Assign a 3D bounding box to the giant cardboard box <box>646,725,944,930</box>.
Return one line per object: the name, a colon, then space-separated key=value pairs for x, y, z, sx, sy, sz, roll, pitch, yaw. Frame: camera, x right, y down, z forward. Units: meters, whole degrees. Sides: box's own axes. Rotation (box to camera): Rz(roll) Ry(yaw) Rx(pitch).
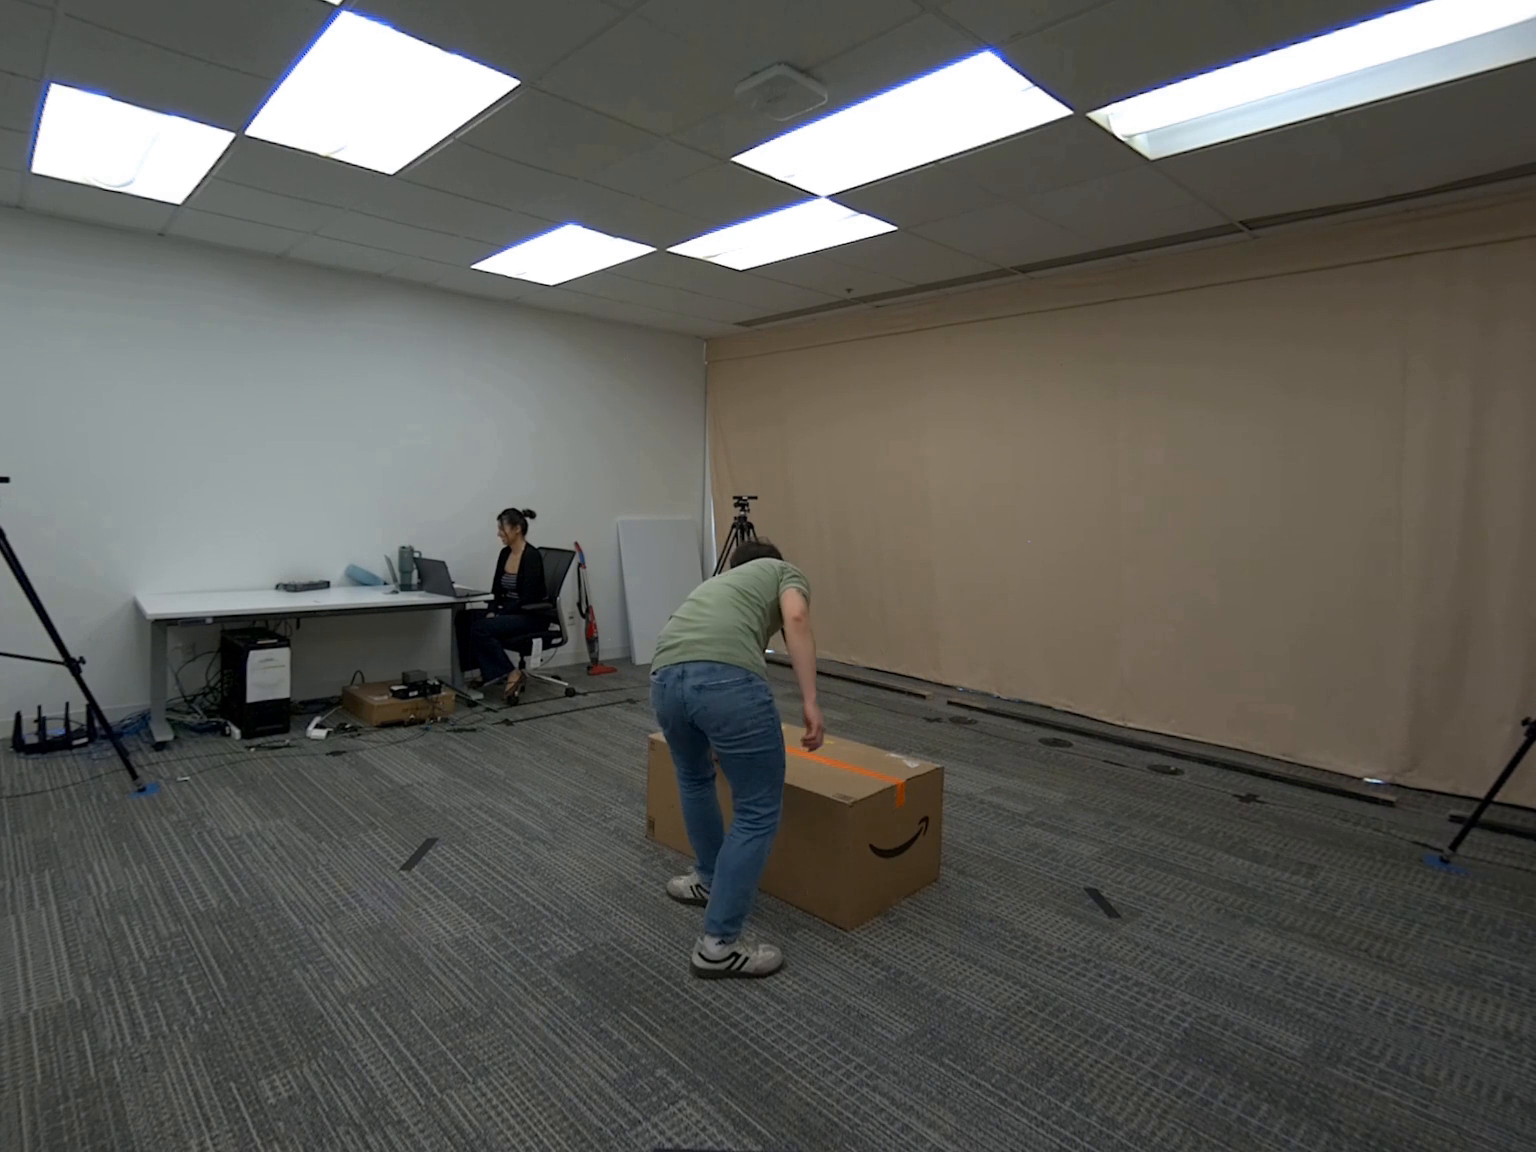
giant cardboard box: x=0.069 y=0.881 z=3.259 sx=1.052 sy=0.425 sz=0.564 roll=6 pitch=6 yaw=43
